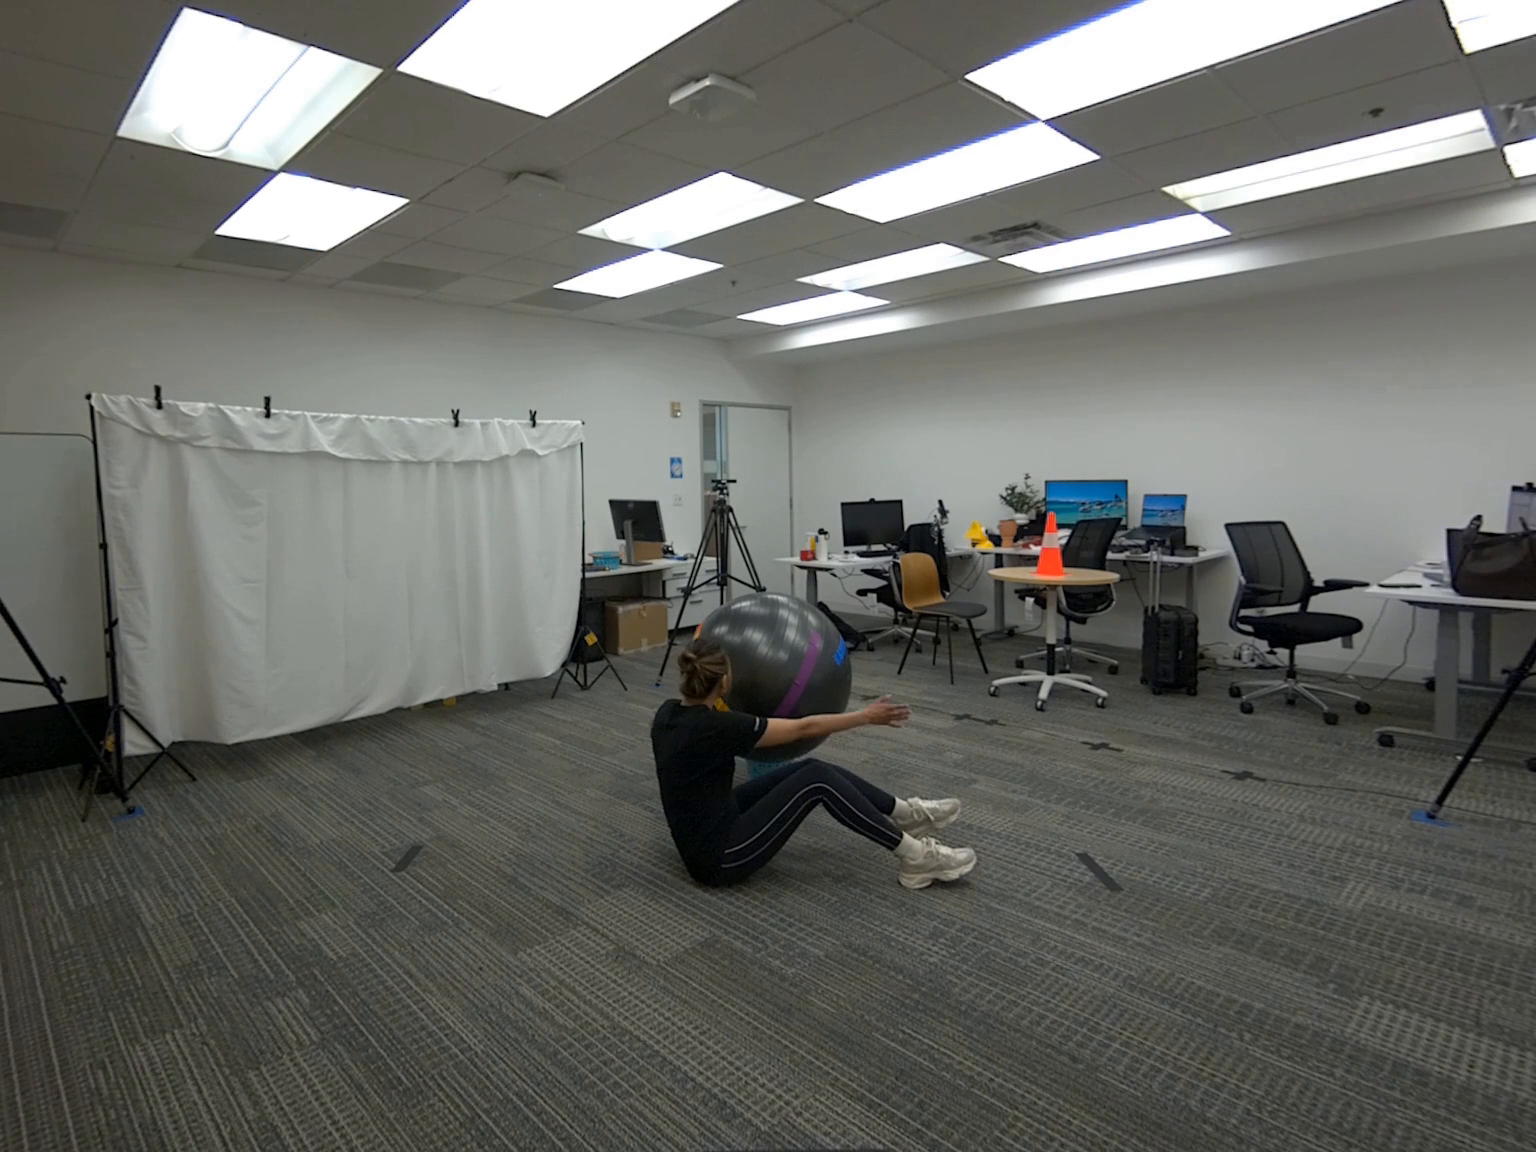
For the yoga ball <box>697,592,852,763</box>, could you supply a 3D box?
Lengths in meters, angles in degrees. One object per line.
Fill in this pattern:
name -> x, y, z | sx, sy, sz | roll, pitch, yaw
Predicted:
yoga ball -> -0.006, 0.458, 3.857 | 0.757, 0.755, 0.762 | -1, 5, -2
